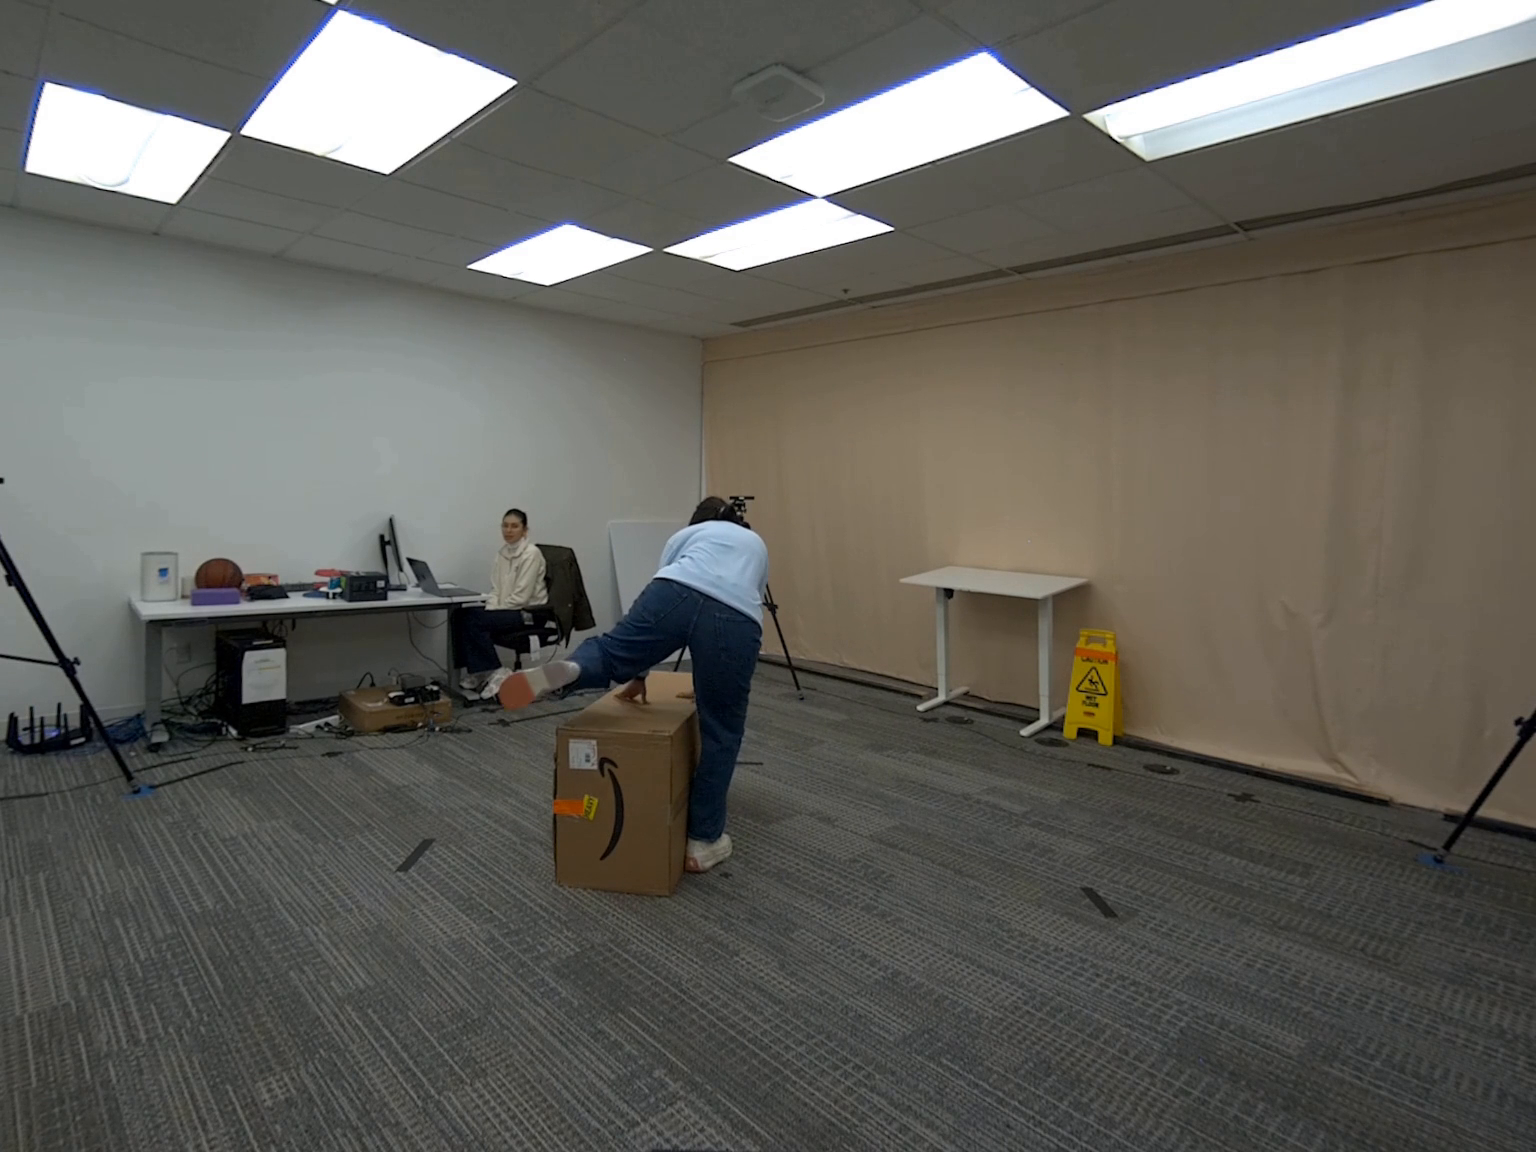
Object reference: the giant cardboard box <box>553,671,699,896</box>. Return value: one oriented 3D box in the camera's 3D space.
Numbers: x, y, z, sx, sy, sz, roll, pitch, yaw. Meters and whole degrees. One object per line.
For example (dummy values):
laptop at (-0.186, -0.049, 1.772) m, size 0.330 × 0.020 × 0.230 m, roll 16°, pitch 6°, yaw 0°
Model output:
giant cardboard box at (-0.485, 0.785, 3.447) m, size 0.429 × 0.576 × 1.021 m, roll 1°, pitch 5°, yaw 8°
